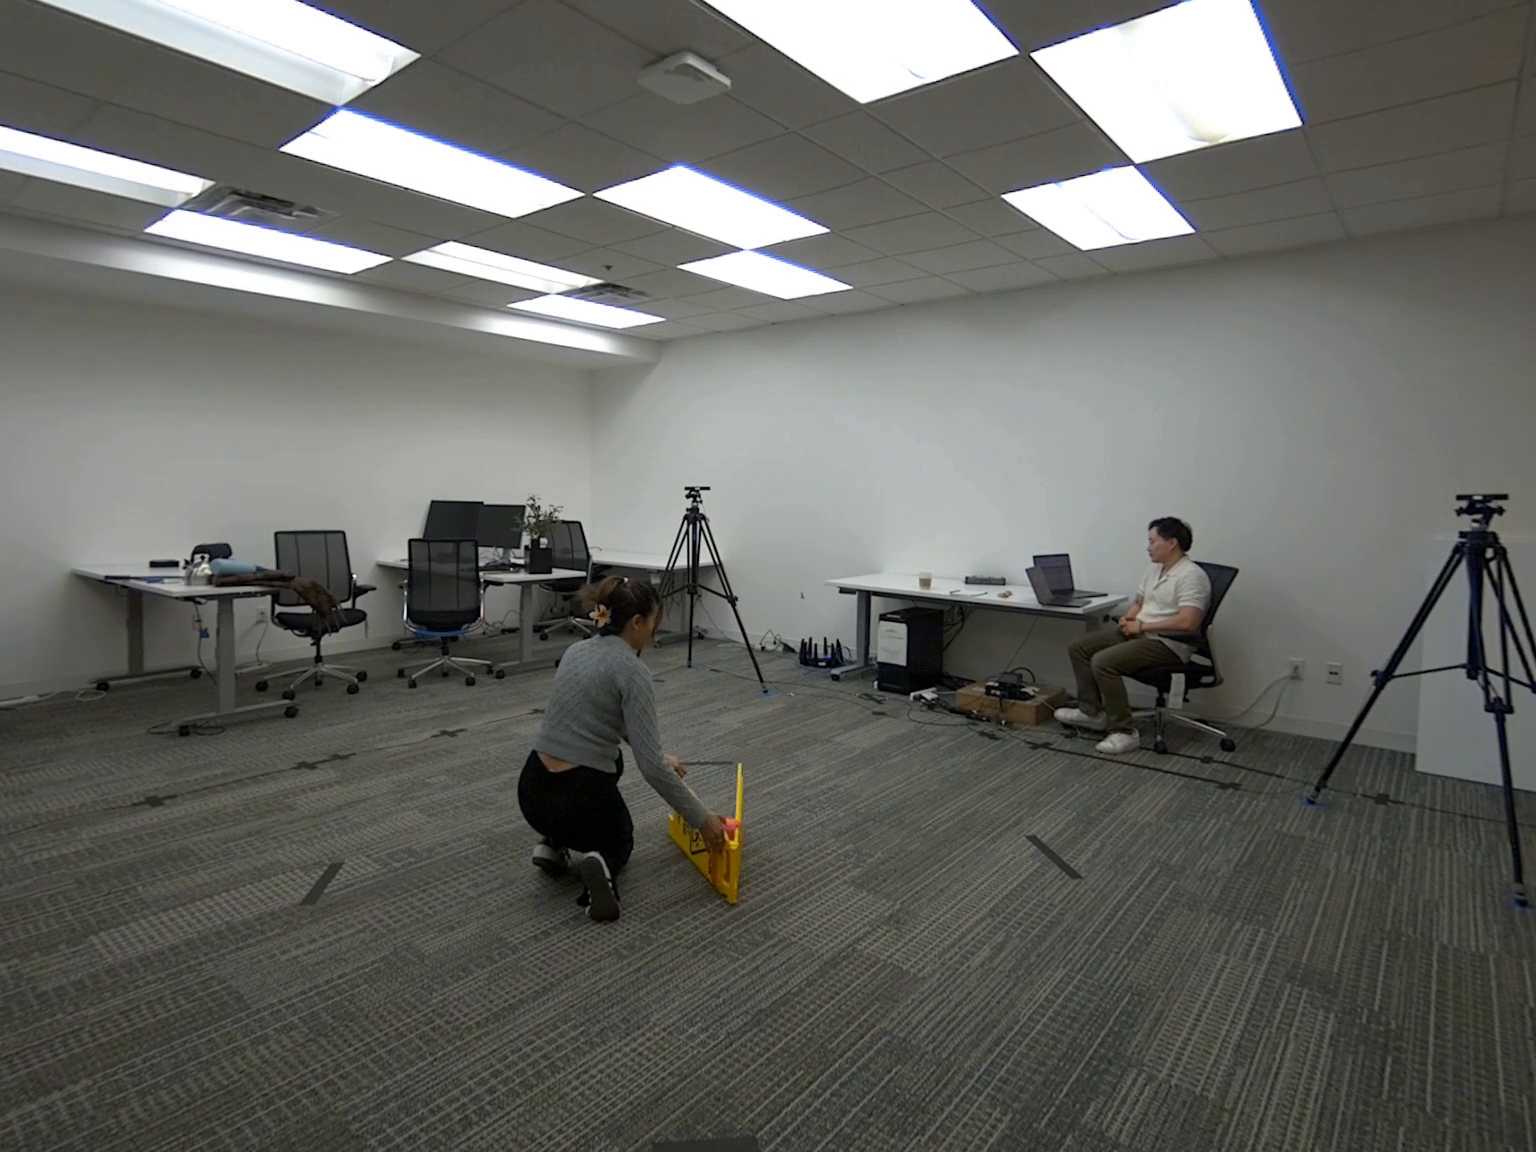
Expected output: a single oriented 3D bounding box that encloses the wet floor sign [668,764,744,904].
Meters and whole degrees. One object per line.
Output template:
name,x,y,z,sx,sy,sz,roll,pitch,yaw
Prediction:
wet floor sign,-0.192,0.940,3.111,0.286,0.280,0.658,-1,9,-12
